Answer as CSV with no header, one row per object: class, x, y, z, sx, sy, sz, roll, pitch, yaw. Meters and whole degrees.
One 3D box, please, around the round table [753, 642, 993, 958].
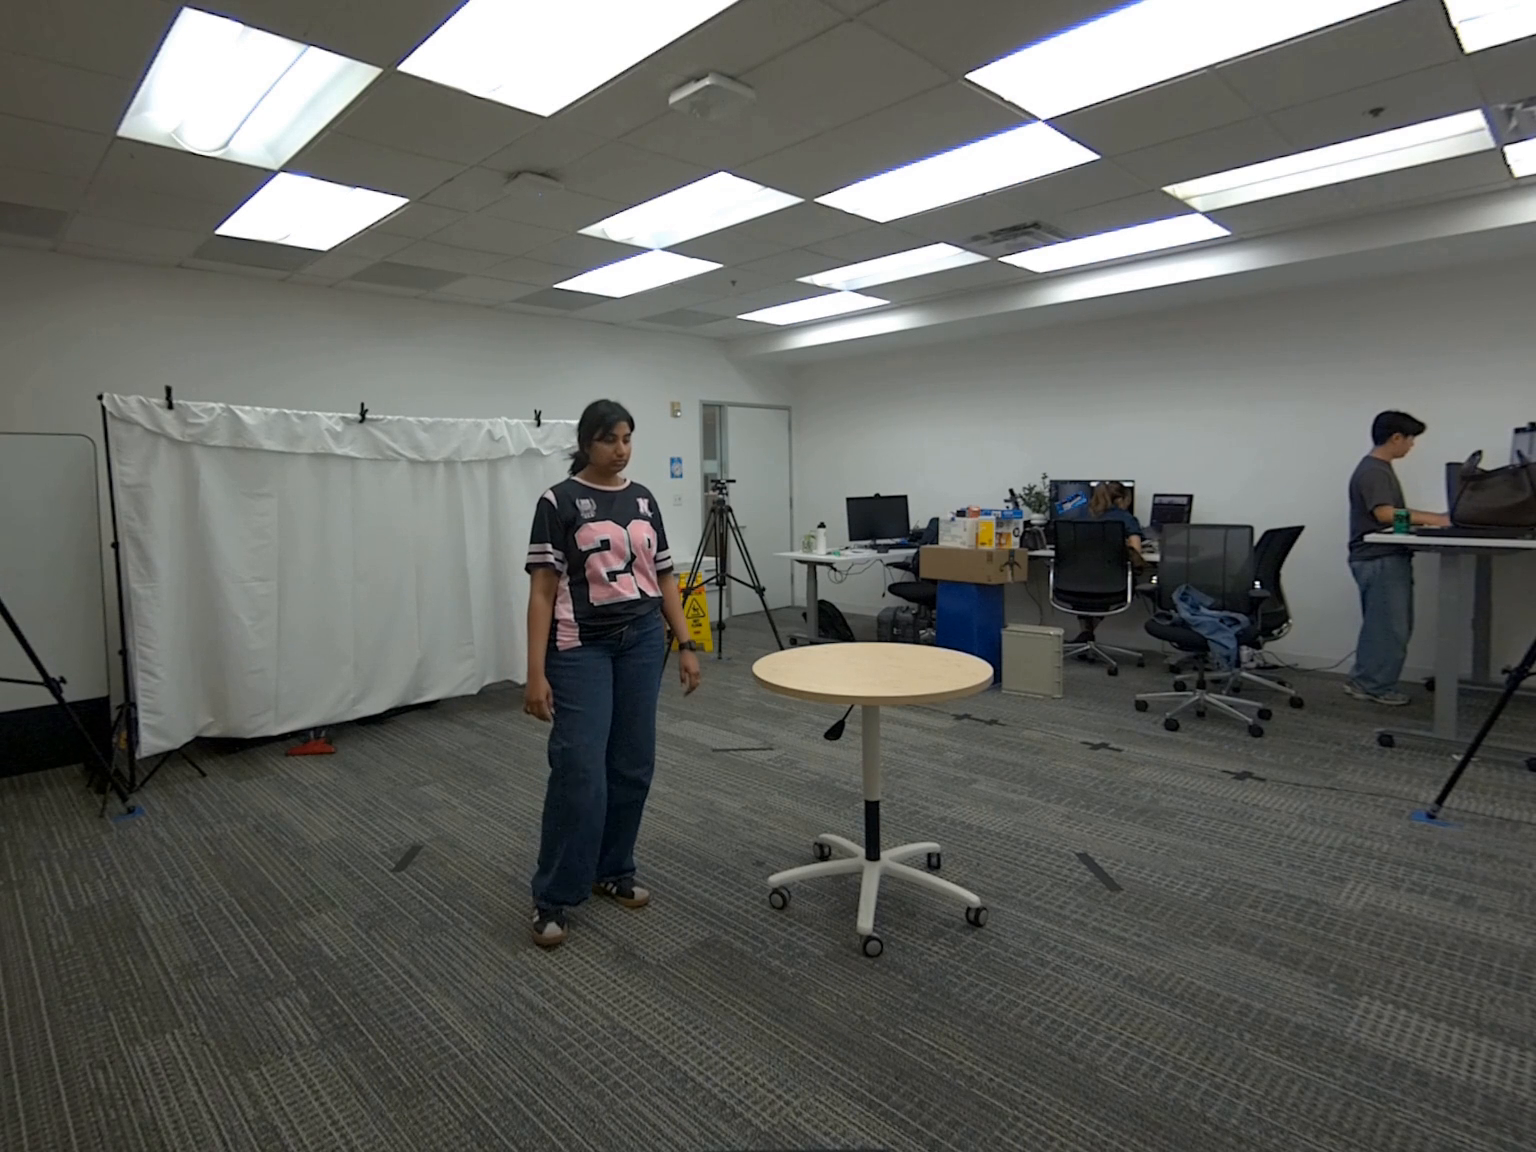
round table,0.349,0.683,2.805,0.763,0.791,0.768,-2,5,-2
